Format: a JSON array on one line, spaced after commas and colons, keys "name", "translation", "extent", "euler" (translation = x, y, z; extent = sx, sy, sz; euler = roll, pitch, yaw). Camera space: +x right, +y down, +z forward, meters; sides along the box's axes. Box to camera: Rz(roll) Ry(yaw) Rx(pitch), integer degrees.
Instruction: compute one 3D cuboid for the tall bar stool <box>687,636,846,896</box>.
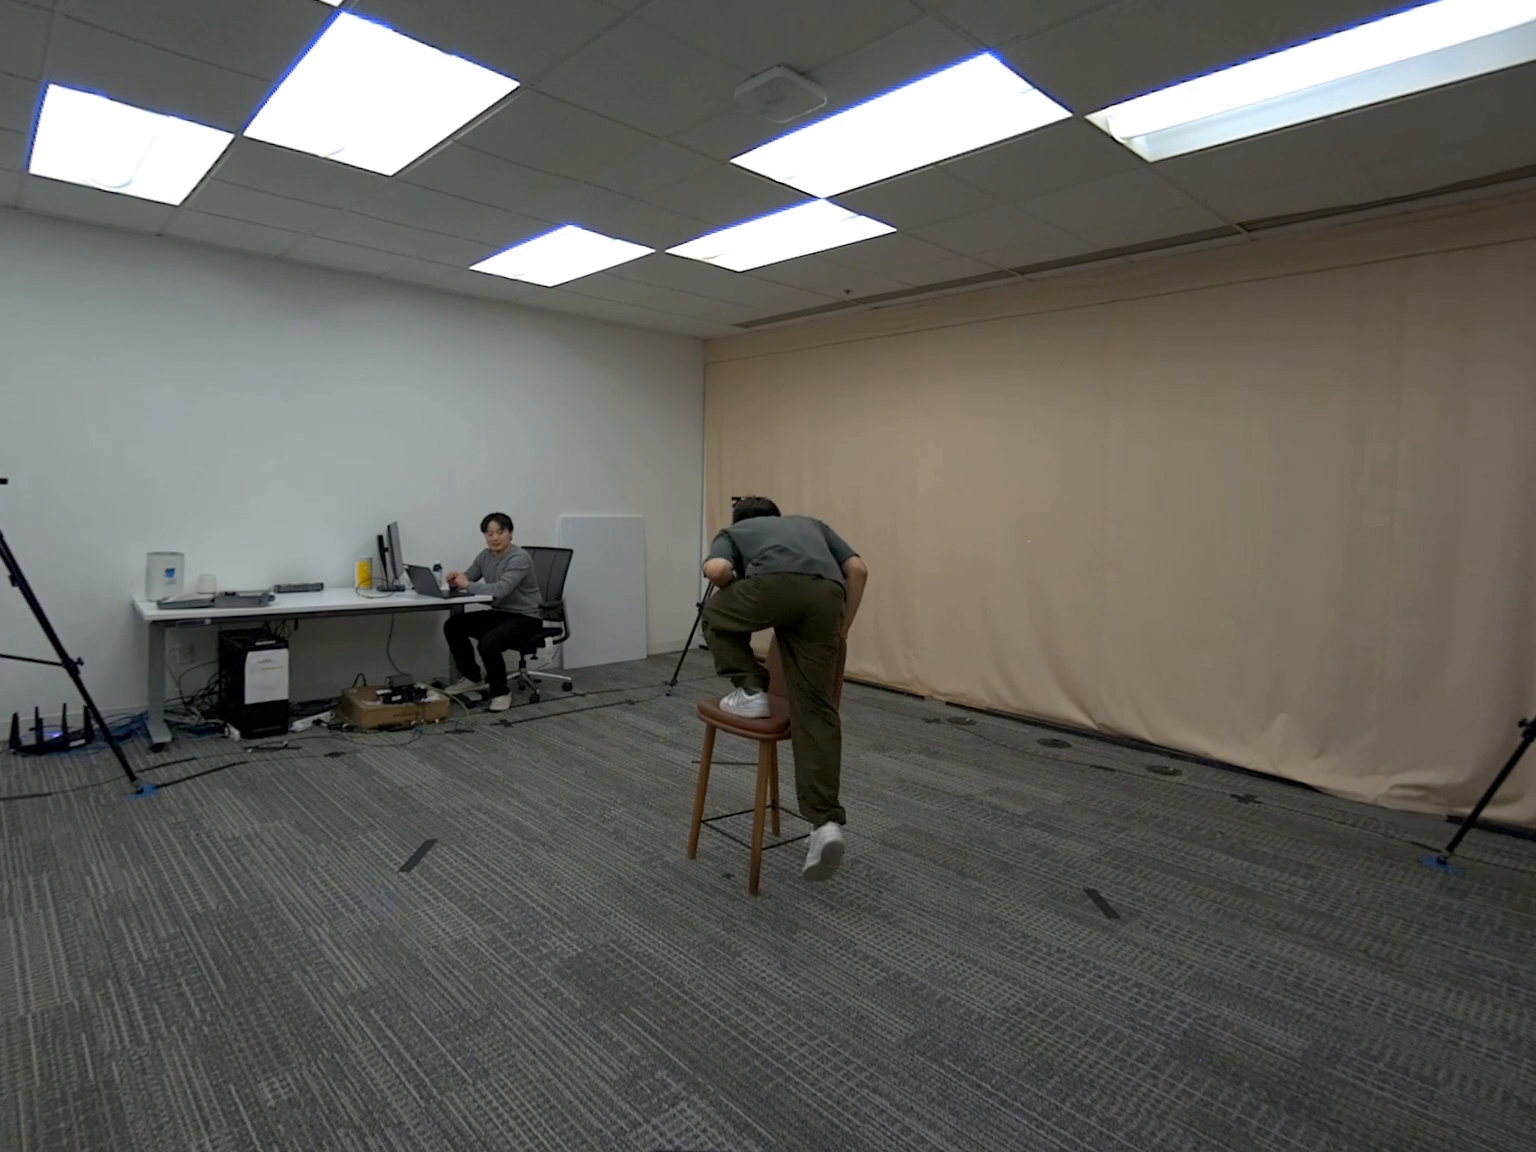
[{"name": "tall bar stool", "translation": [-0.006, 0.665, 3.225], "extent": [0.456, 0.889, 0.468], "euler": [2, 2, -39]}]
